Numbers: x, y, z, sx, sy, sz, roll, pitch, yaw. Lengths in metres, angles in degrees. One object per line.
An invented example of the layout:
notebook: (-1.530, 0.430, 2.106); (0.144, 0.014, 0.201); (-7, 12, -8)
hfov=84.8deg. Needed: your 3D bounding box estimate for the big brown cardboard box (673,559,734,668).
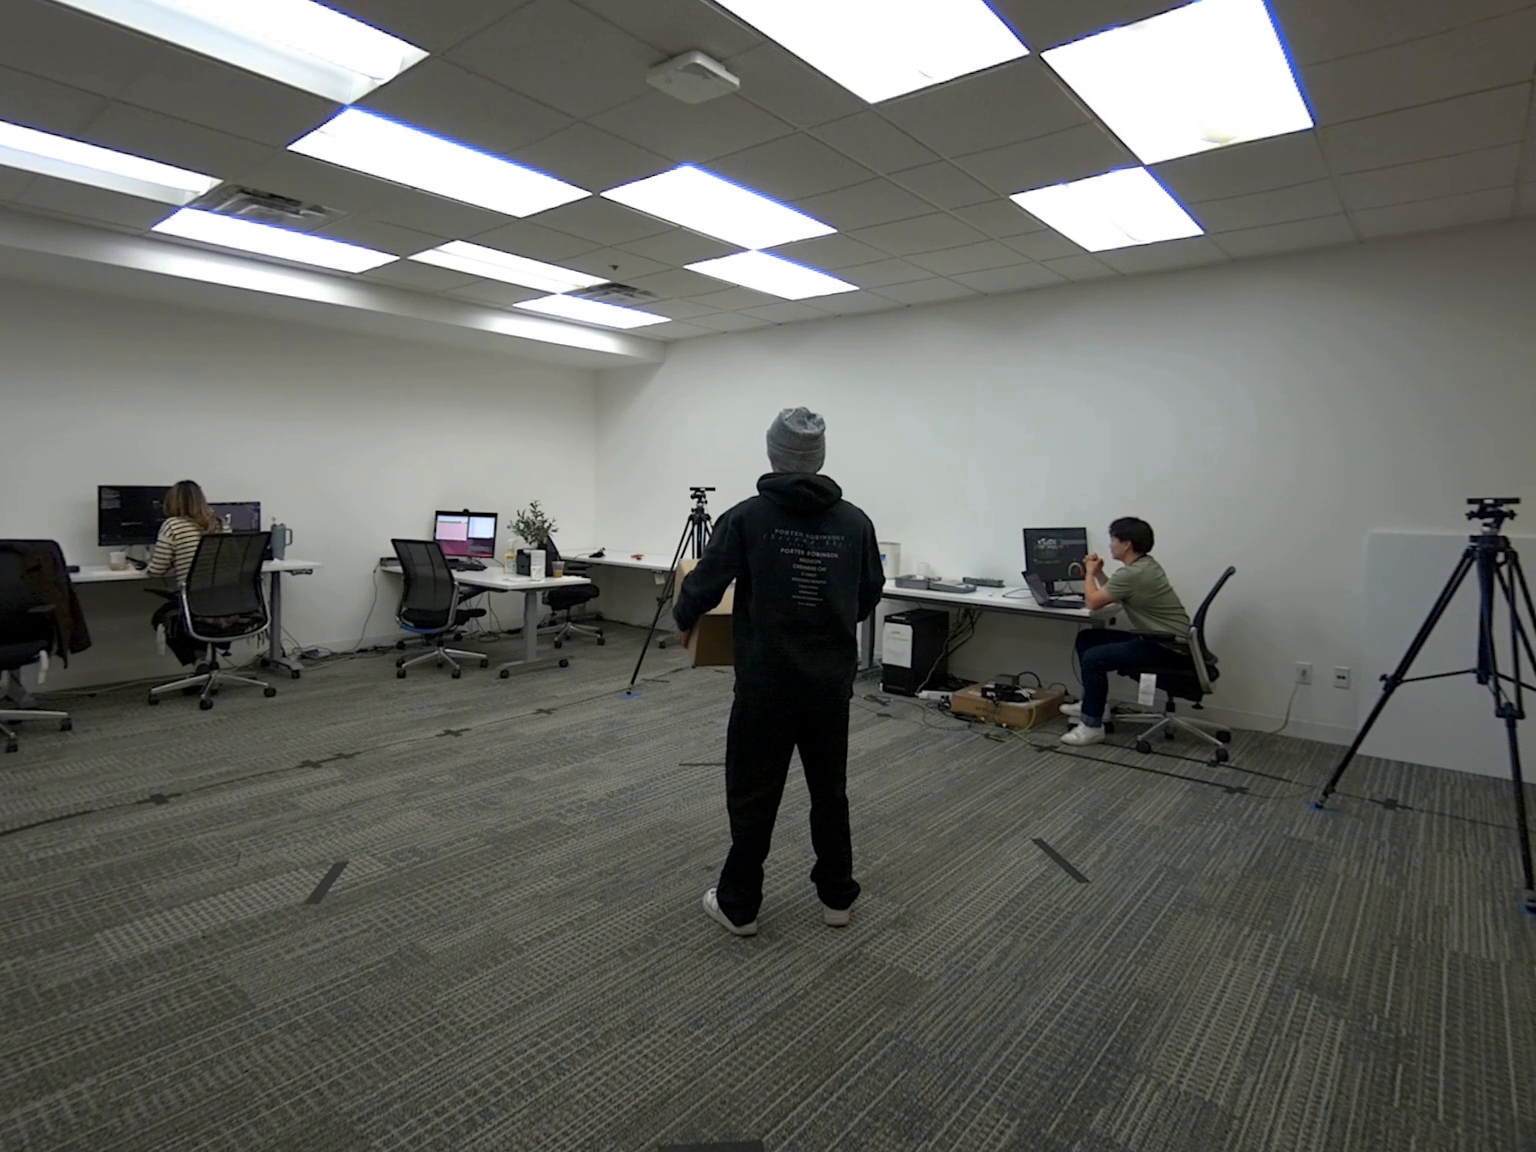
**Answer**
big brown cardboard box: (-0.042, 0.121, 3.152); (0.580, 0.229, 0.431); (1, 26, -14)
